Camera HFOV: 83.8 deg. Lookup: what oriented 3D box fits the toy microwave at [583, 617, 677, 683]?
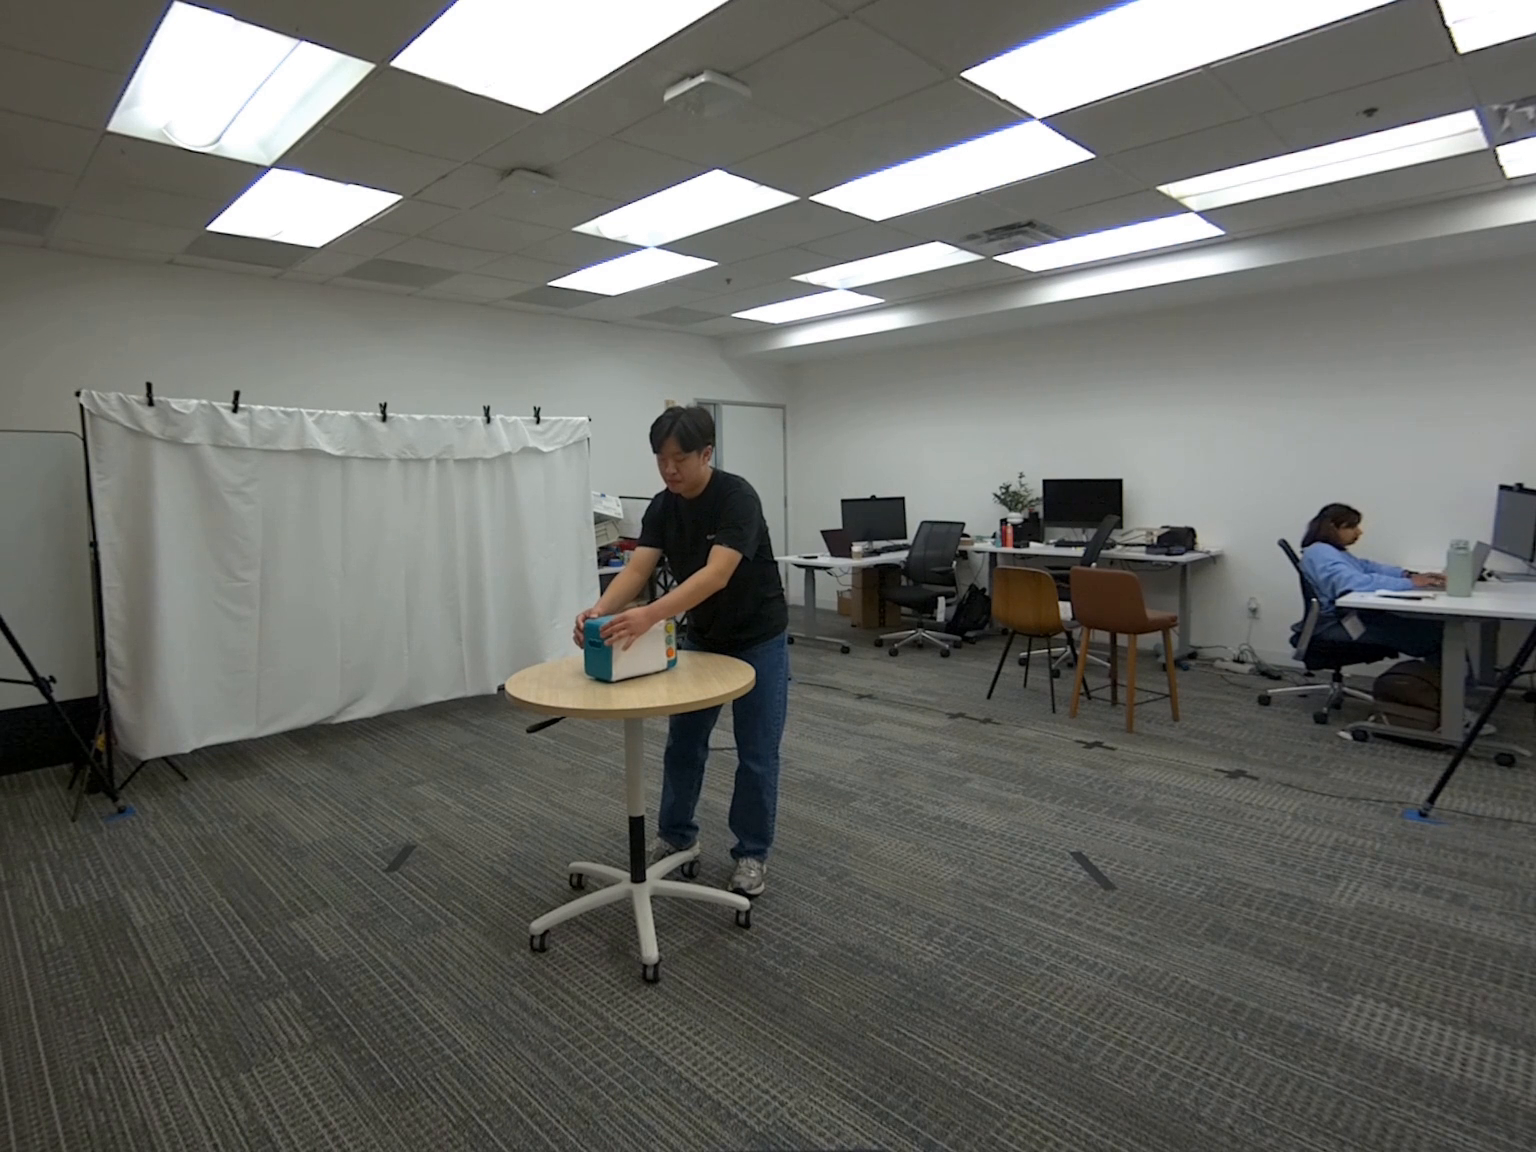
[{"bbox_3d":[-0.418,0.215,2.654,0.157,0.183,0.279,3,7,44],"label":"toy microwave"}]
